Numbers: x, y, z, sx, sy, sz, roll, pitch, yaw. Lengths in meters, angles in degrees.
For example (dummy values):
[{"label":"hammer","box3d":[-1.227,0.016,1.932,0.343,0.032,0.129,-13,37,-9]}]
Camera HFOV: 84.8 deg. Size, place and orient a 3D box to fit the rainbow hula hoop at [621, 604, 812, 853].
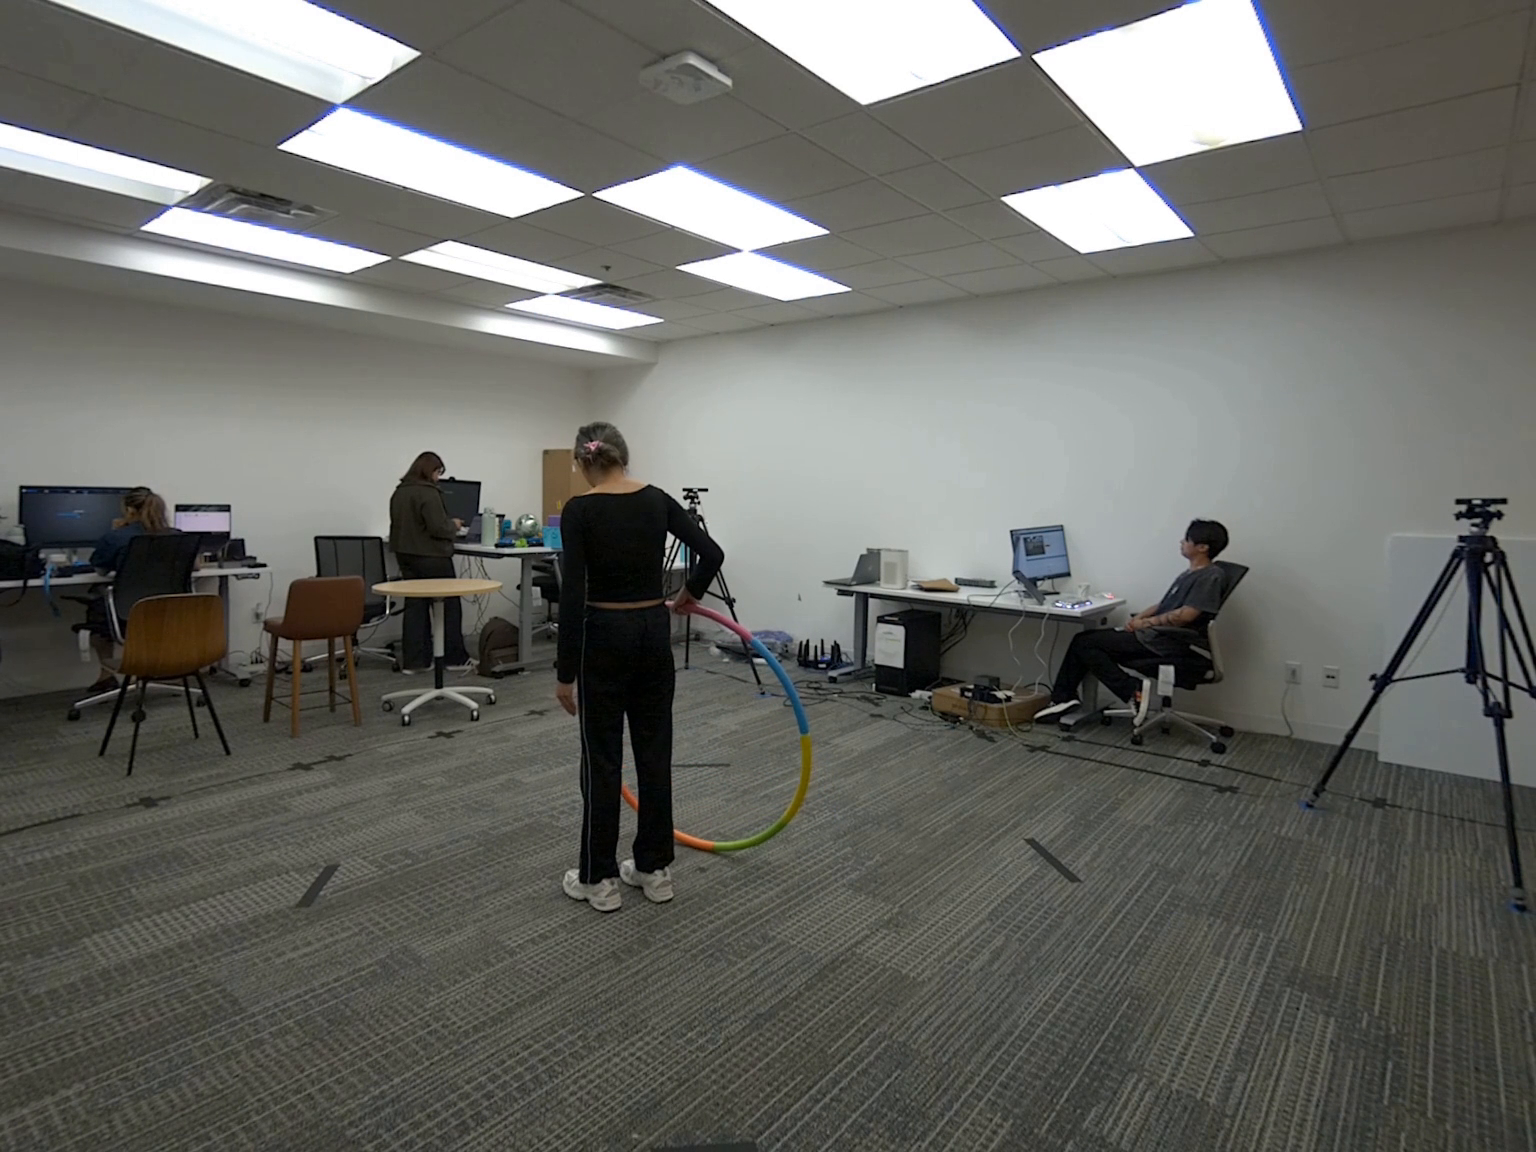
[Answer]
[{"label":"rainbow hula hoop","box3d":[-0.305,0.568,3.186,1.007,0.966,0.035,3,14,29]}]
